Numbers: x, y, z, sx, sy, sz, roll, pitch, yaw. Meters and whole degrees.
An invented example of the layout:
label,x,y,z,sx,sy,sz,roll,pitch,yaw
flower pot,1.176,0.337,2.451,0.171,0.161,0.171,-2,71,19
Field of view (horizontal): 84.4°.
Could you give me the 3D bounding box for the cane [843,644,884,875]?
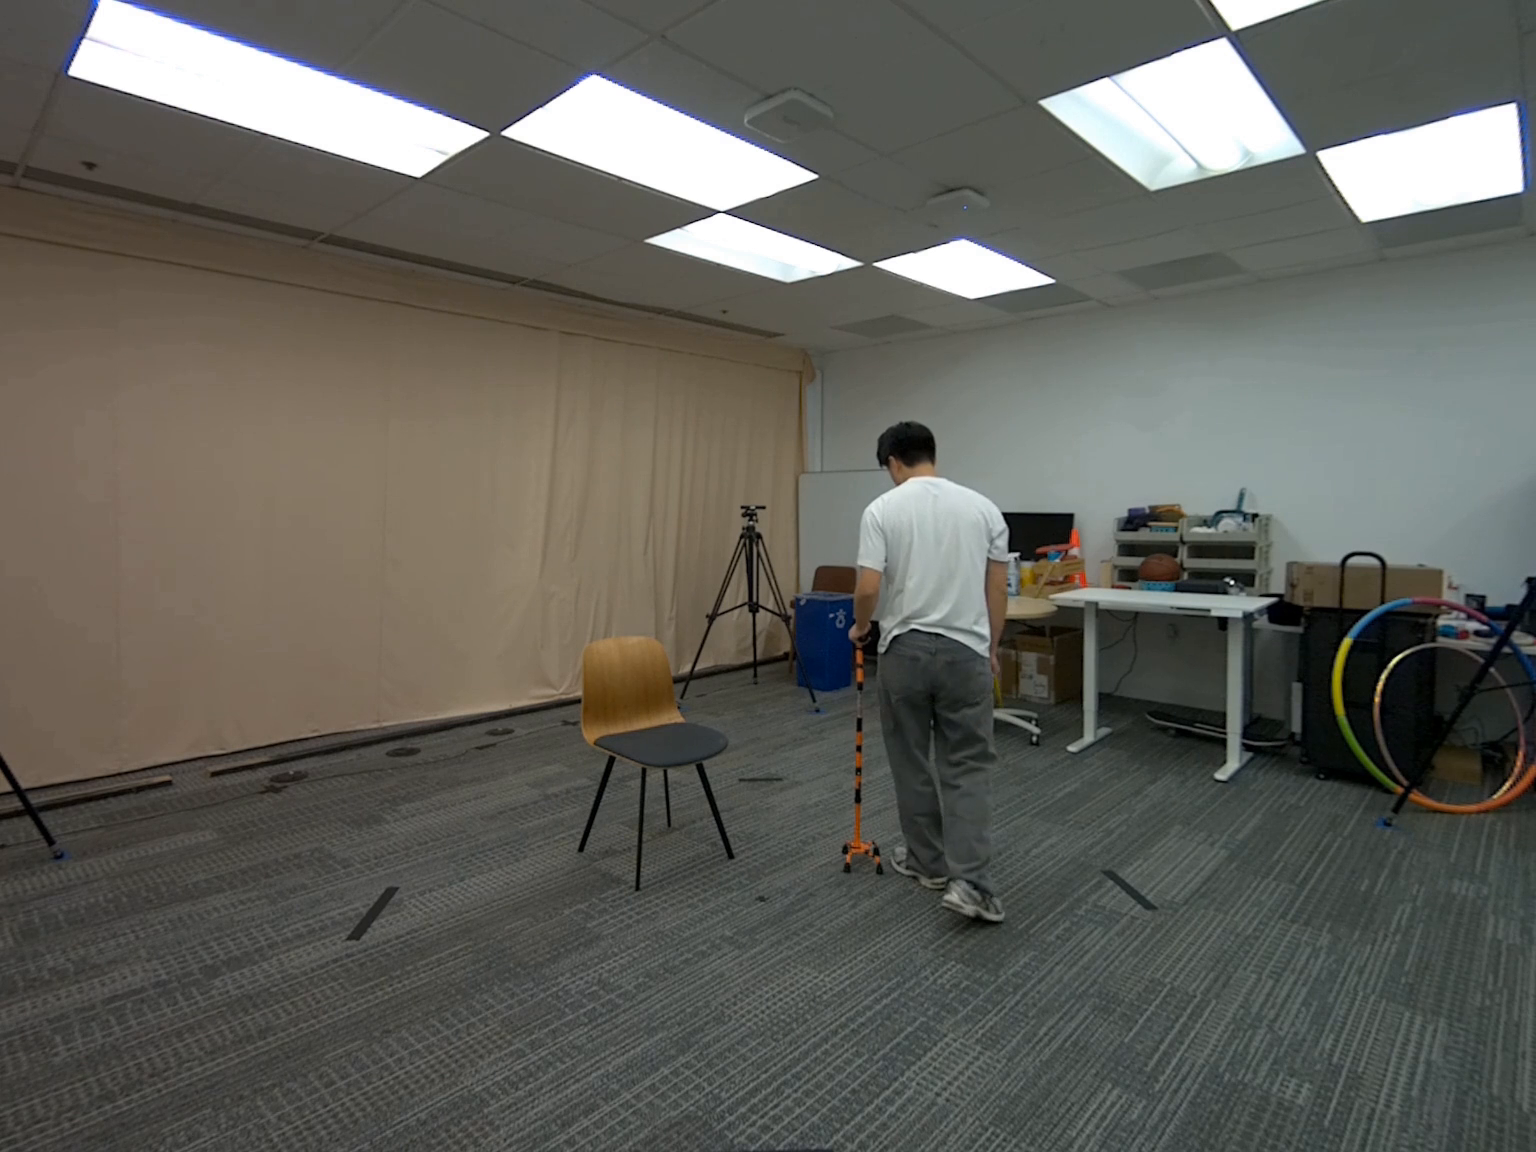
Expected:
label,x,y,z,sx,sy,sz,roll,pitch,yaw
cane,0.379,0.662,3.261,0.153,0.906,0.205,0,3,7
